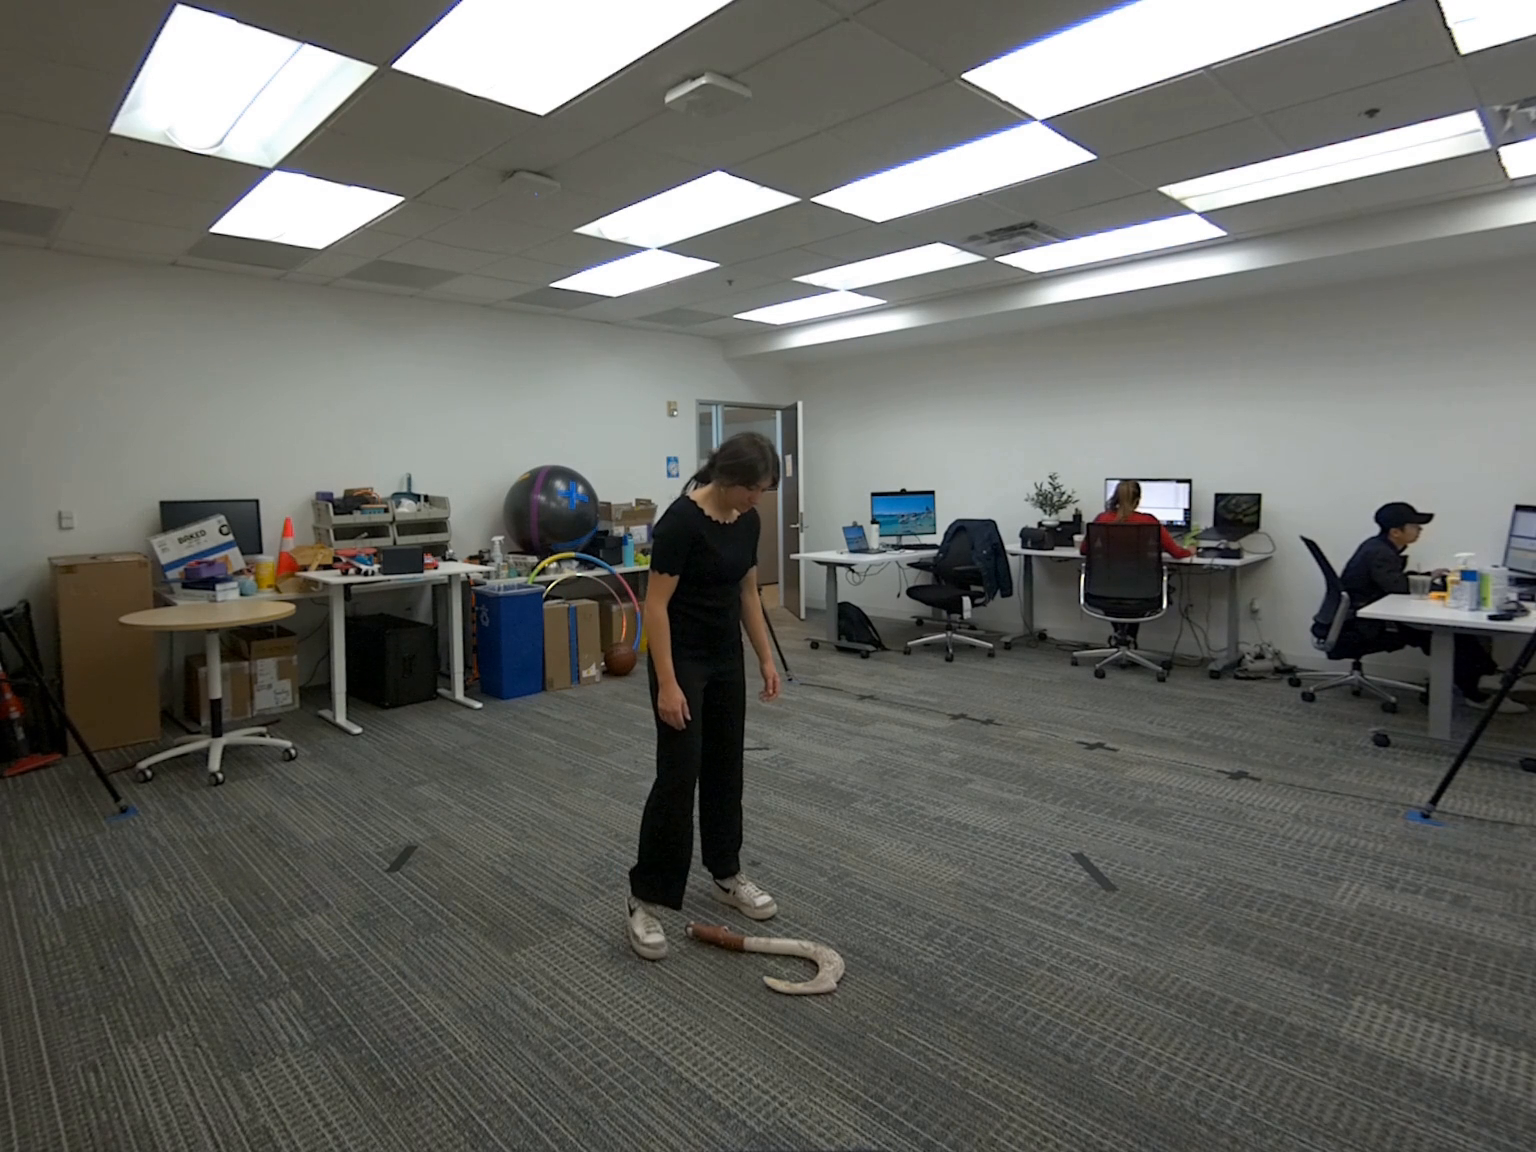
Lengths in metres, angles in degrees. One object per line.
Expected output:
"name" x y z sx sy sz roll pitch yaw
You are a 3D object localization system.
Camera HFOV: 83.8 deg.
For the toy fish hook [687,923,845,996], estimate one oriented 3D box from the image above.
"toy fish hook" -0.031 1.092 2.467 0.518 0.048 0.220 2 6 25
